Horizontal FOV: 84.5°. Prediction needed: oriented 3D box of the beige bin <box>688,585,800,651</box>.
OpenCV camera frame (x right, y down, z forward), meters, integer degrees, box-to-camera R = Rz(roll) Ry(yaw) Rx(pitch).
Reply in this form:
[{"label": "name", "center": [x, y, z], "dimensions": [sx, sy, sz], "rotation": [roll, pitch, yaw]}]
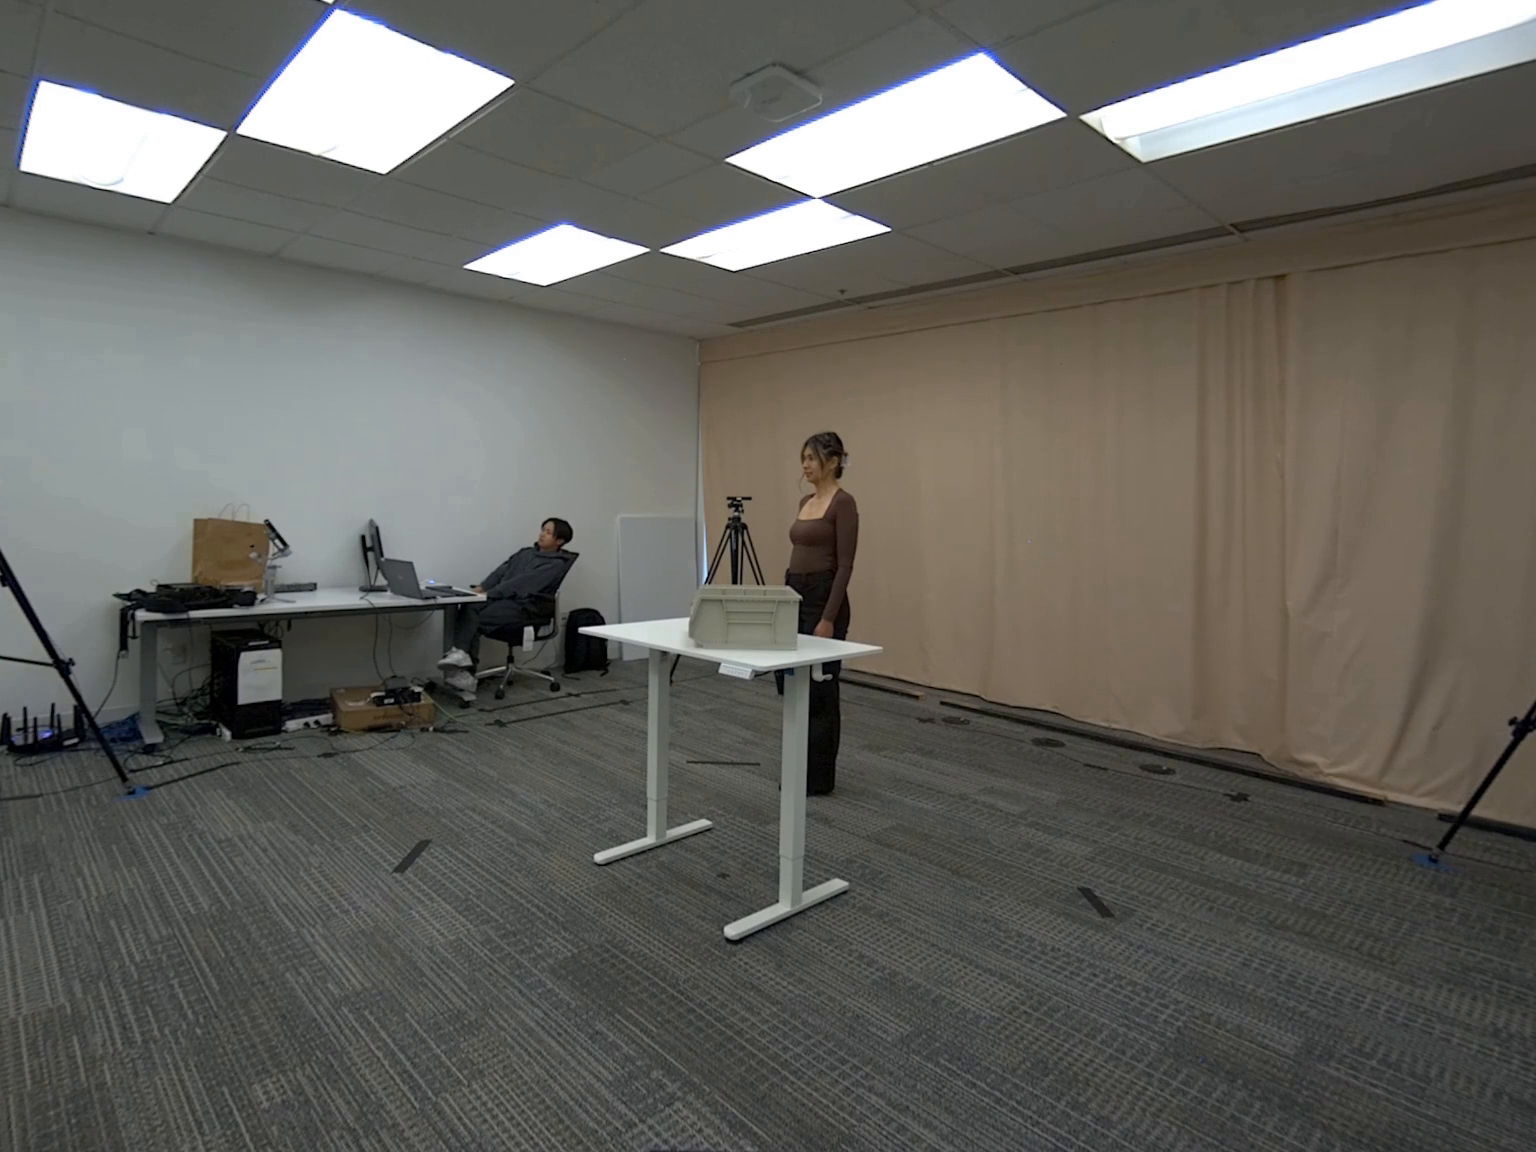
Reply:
[{"label": "beige bin", "center": [-0.099, 0.145, 3.011], "dimensions": [0.376, 0.189, 0.424], "rotation": [2, 3, -4]}]
